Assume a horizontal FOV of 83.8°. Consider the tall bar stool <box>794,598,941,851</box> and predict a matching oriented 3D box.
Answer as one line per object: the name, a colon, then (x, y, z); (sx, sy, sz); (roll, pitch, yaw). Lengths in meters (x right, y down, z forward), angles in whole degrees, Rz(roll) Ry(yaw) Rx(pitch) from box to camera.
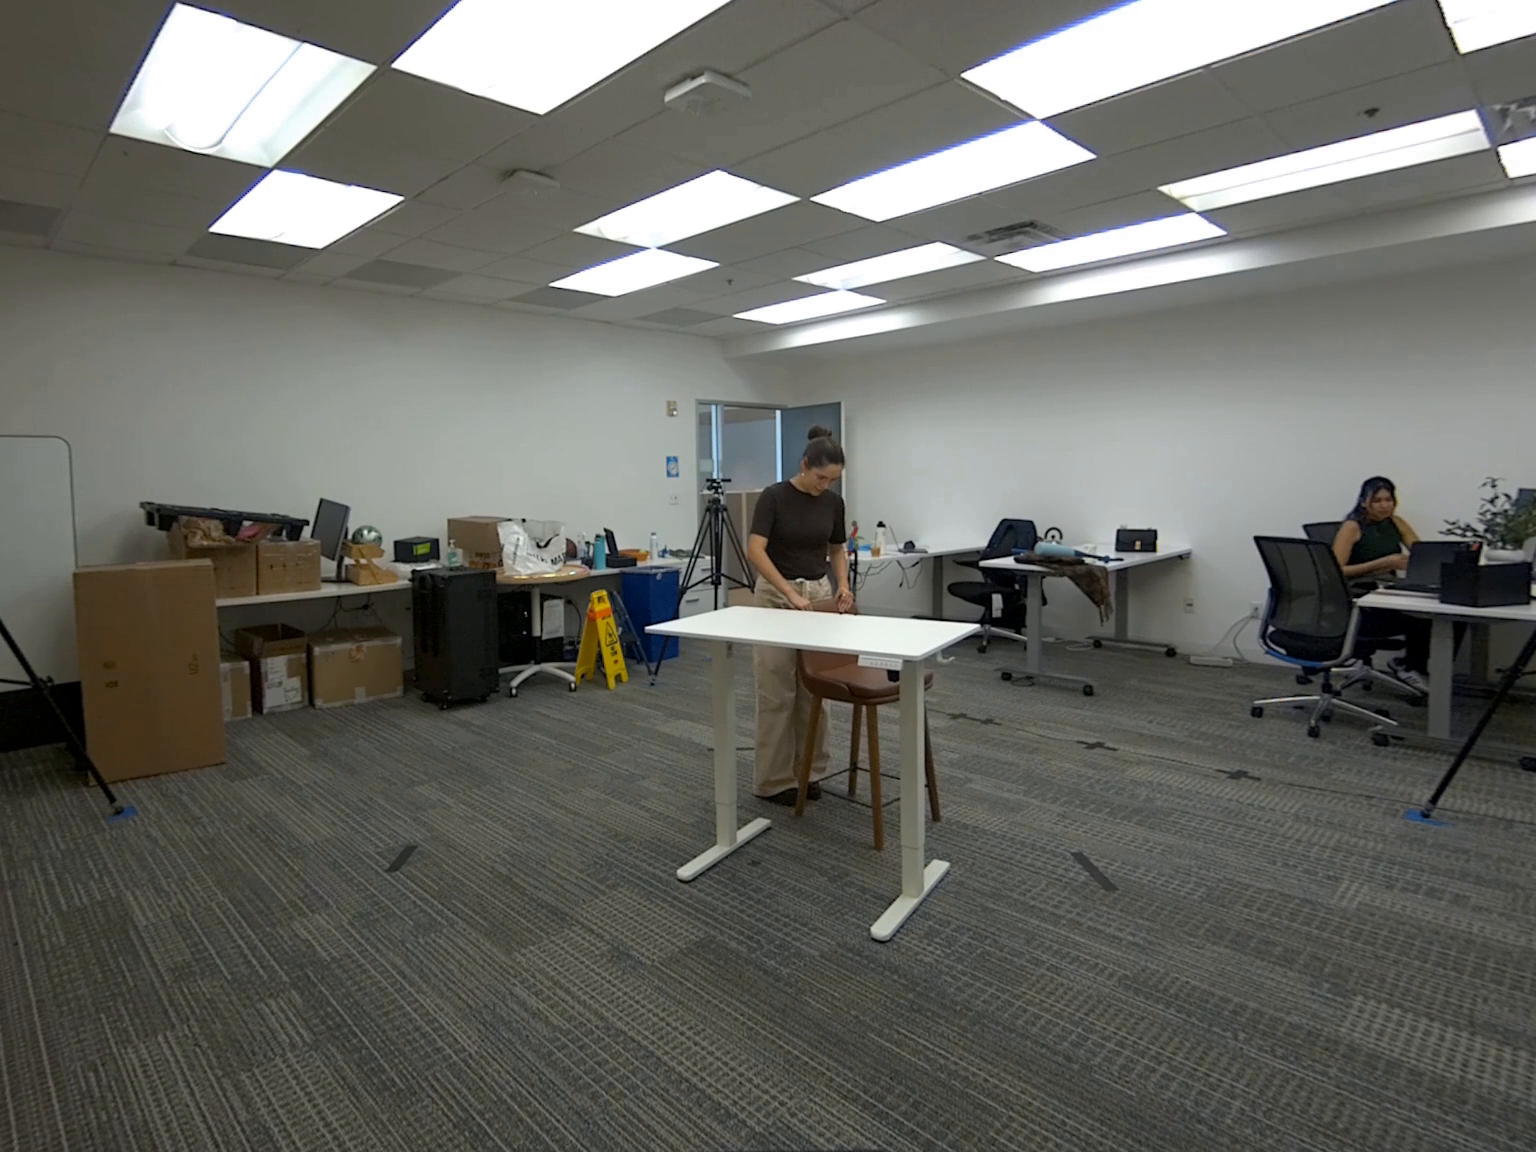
tall bar stool: (0.388, 0.558, 3.470); (0.444, 0.888, 0.481); (-5, 3, -44)
